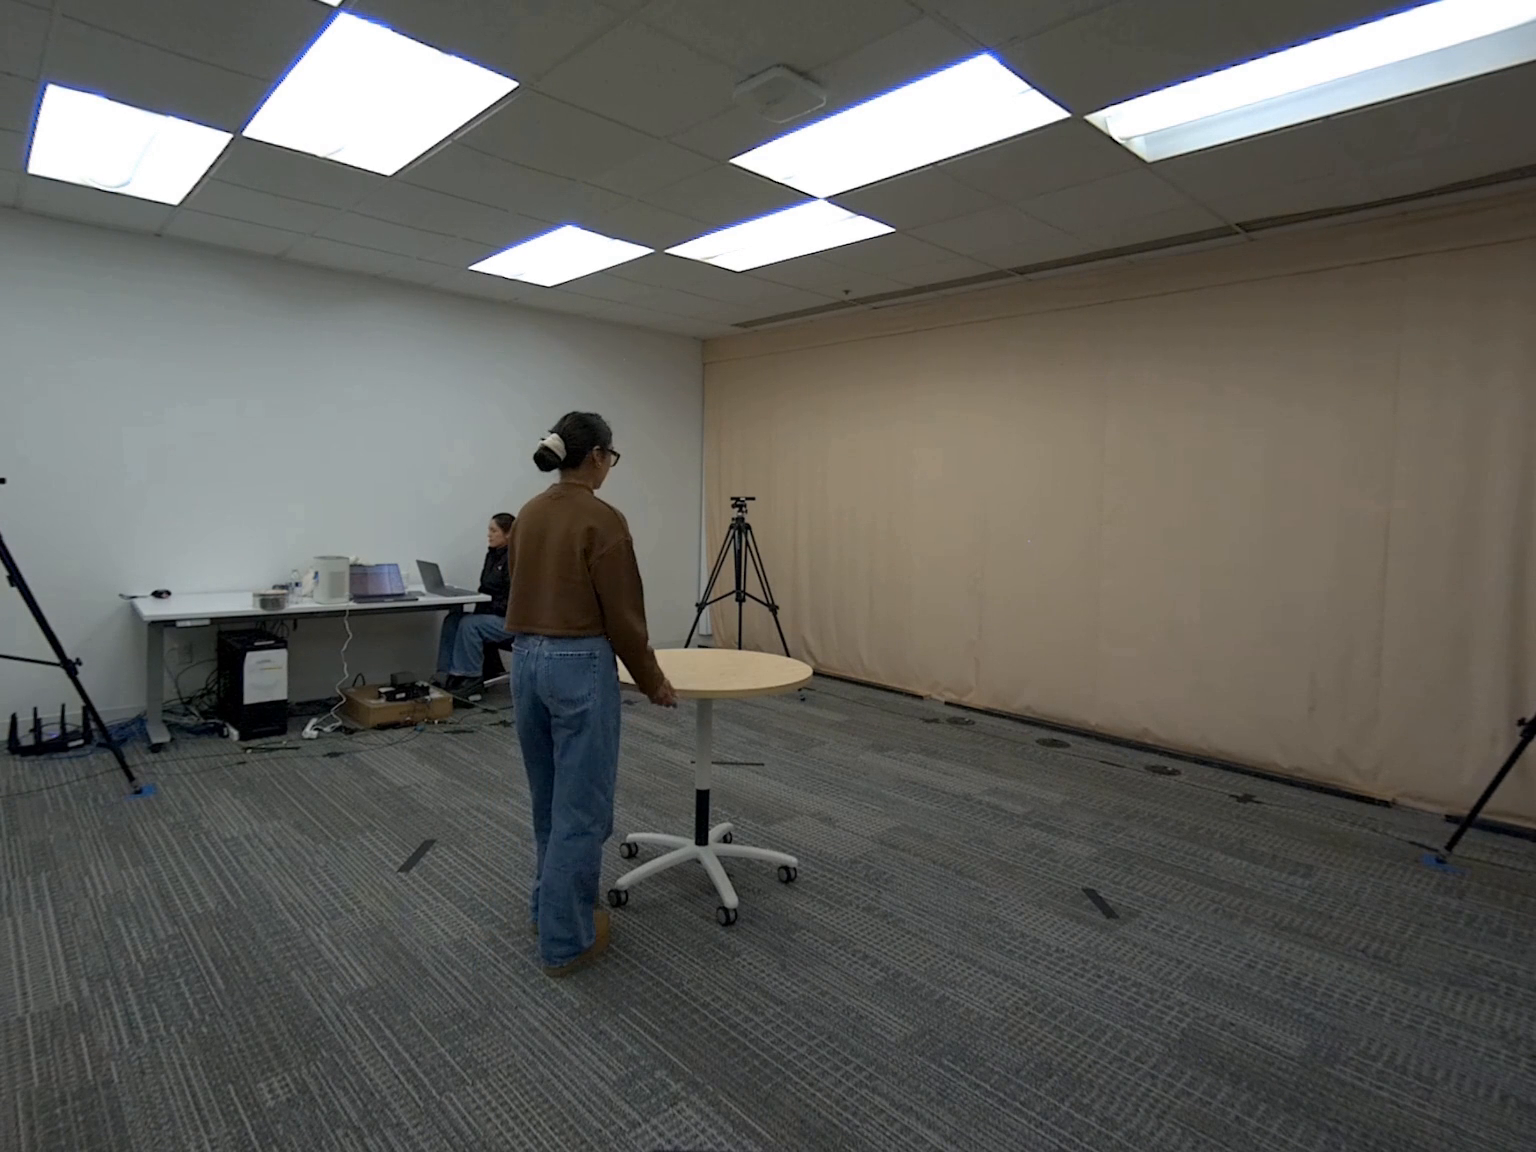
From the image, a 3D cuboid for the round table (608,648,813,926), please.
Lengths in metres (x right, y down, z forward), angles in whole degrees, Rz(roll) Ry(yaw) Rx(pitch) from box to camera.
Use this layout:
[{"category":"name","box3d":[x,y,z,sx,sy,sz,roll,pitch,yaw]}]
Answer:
[{"category":"round table","box3d":[-0.237,0.720,3.030,0.763,0.792,0.766,1,4,-1]}]
